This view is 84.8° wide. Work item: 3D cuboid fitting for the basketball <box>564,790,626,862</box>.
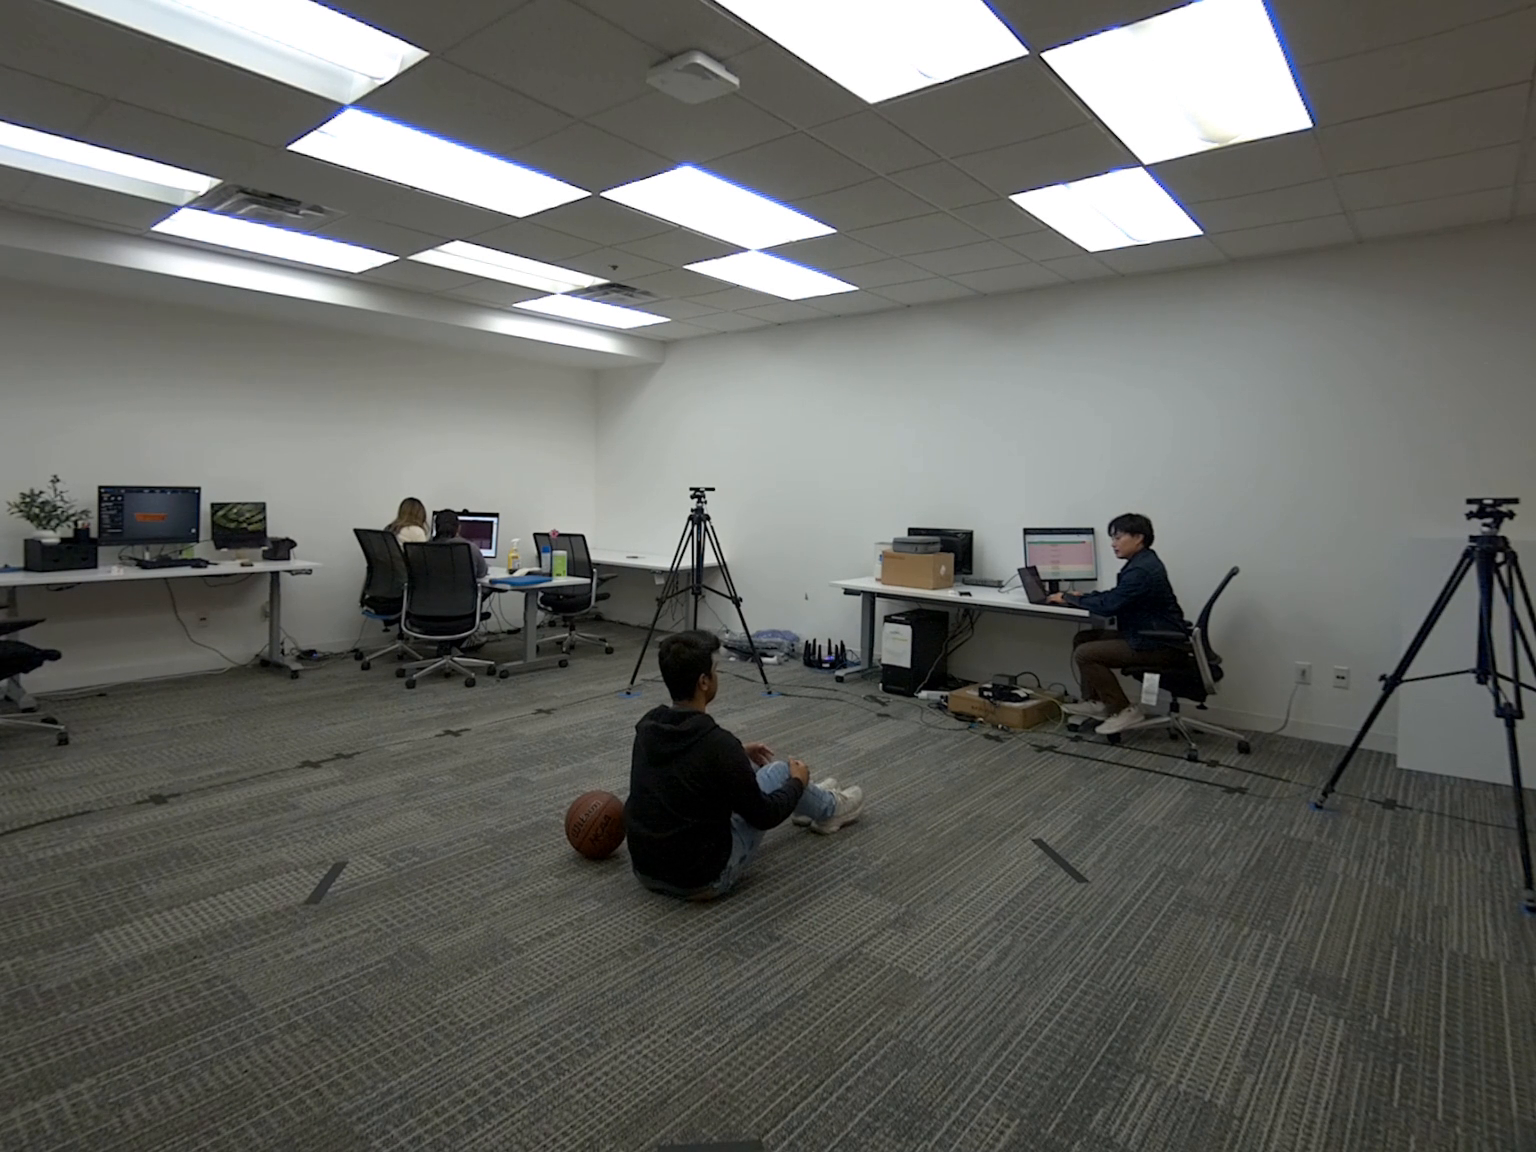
[{"bbox_3d":[-0.657,0.930,3.207,0.235,0.235,0.237,1,4,-2],"label":"basketball"}]
